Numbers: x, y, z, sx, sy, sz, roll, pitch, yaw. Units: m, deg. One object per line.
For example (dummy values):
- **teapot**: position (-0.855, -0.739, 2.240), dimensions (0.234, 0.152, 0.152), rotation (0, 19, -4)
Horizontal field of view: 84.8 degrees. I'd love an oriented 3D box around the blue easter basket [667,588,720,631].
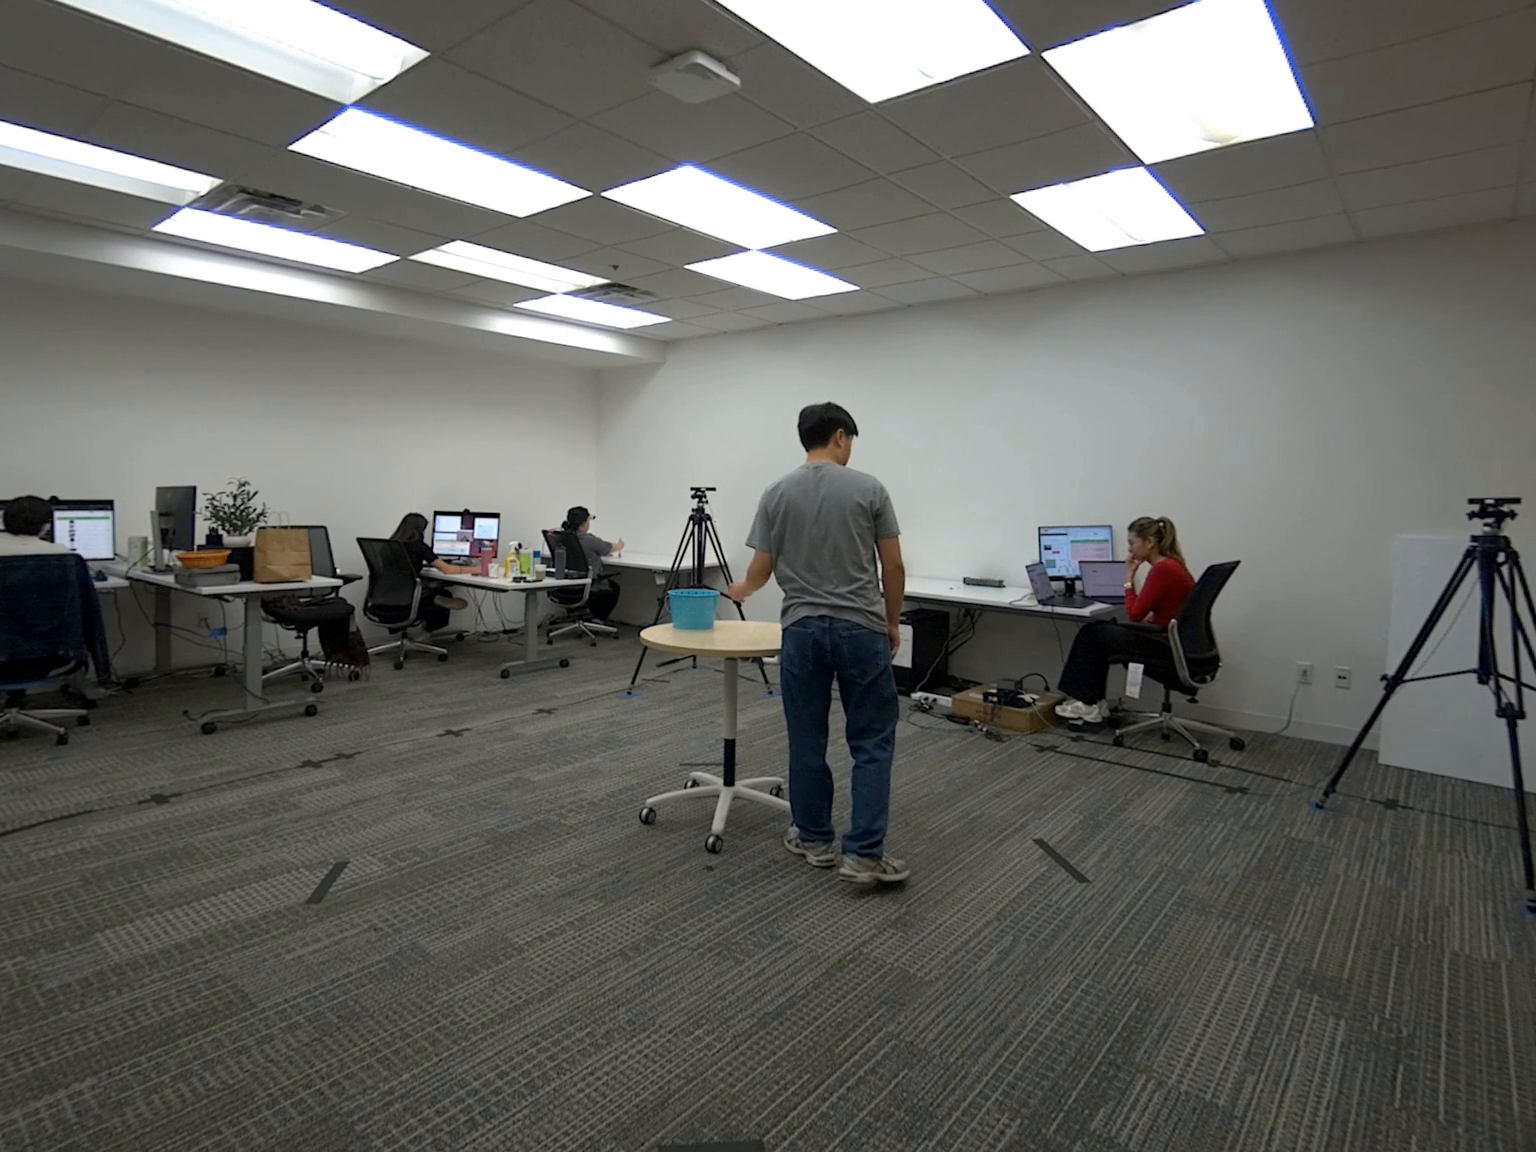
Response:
- **blue easter basket**: position (-0.337, 0.147, 3.752), dimensions (0.243, 0.155, 0.244), rotation (0, 4, -2)
